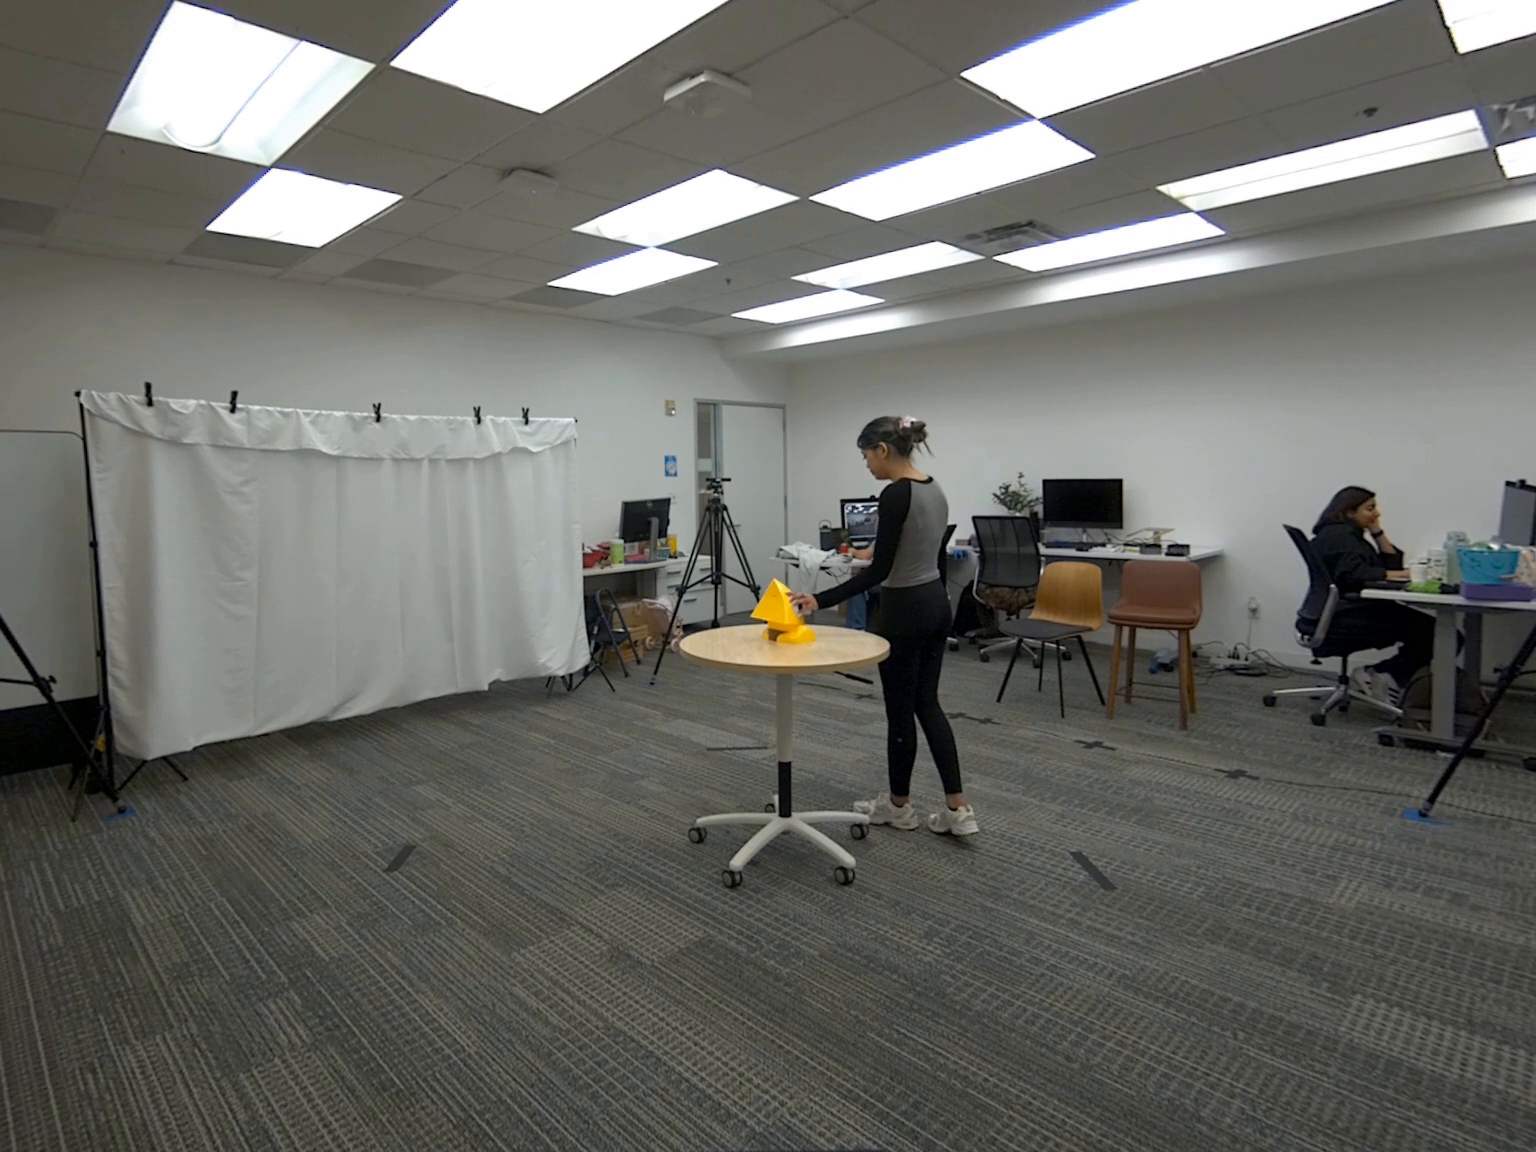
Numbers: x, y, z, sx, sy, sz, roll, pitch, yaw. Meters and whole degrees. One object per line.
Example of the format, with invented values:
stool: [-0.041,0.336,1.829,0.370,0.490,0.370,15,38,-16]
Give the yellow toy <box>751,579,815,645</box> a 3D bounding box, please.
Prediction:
yellow toy: [0.072,0.123,3.206,0.188,0.230,0.211,-3,7,-36]
